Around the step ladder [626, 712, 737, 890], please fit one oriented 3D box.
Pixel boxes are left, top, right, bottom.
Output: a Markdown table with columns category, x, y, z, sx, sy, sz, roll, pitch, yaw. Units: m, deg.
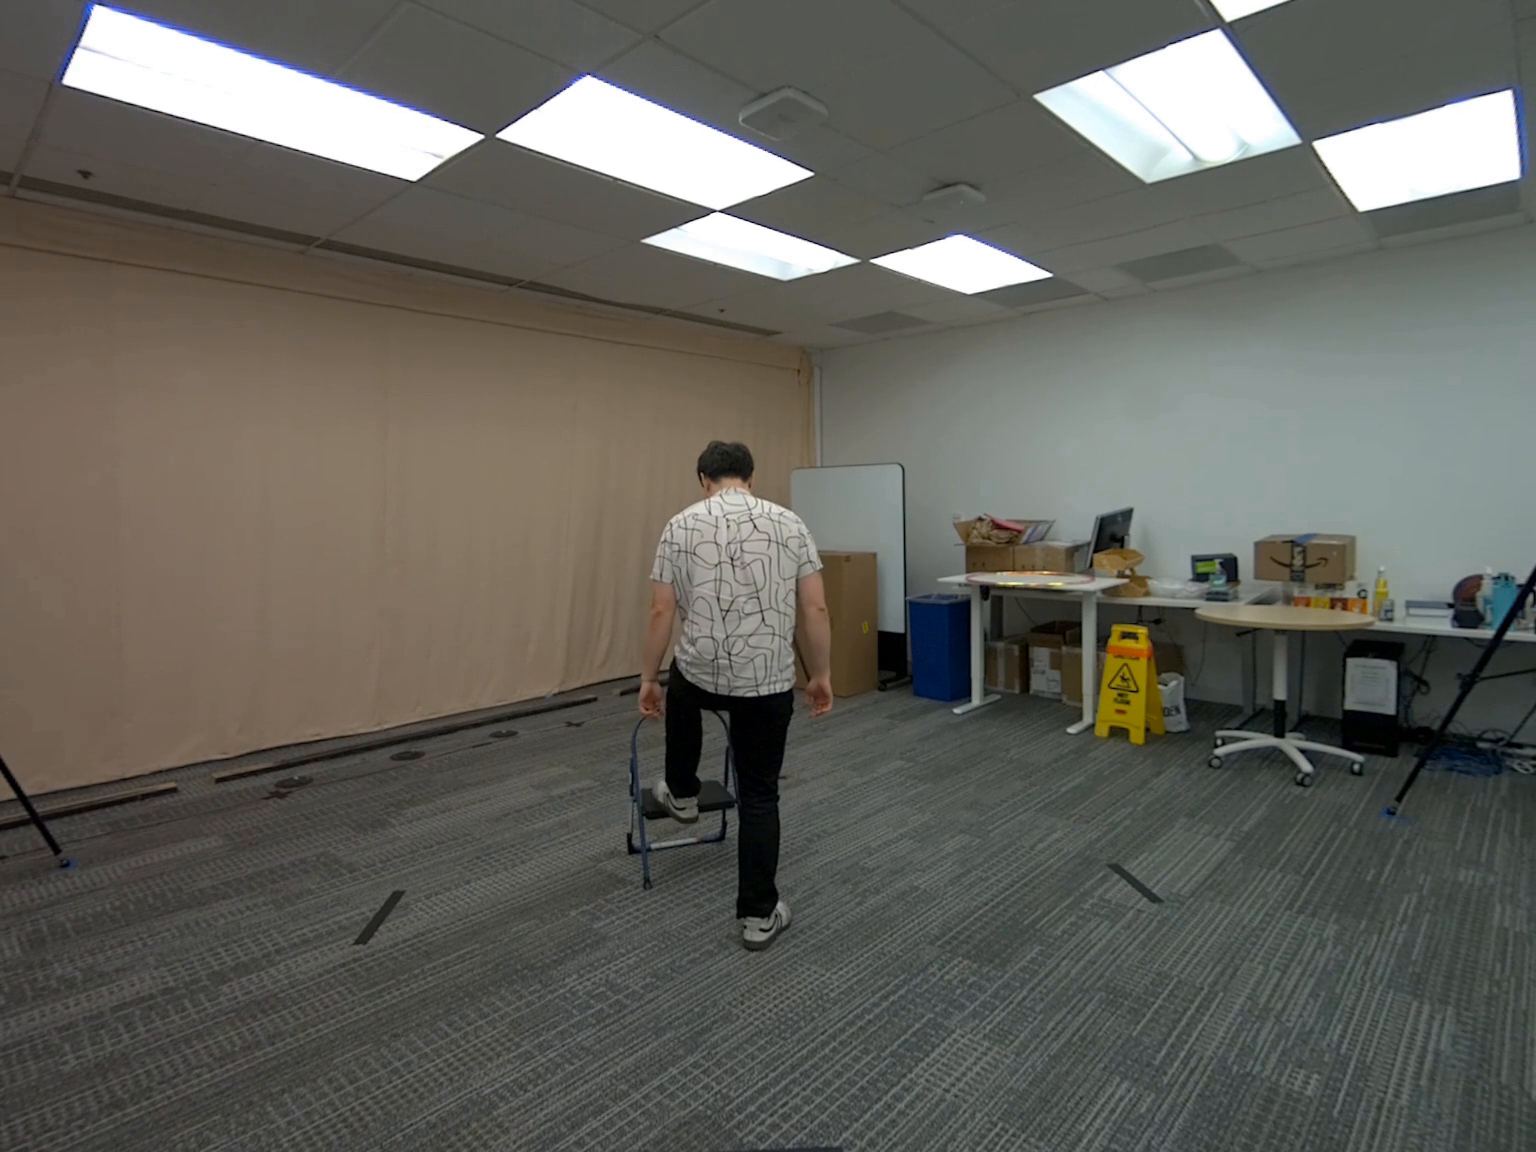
| category | x | y | z | sx | sy | sz | roll | pitch | yaw |
| --- | --- | --- | --- | --- | --- | --- | --- | --- | --- |
| step ladder | -0.320 | 0.814 | 3.282 | 0.422 | 0.605 | 0.357 | -2 | 3 | -19 |
